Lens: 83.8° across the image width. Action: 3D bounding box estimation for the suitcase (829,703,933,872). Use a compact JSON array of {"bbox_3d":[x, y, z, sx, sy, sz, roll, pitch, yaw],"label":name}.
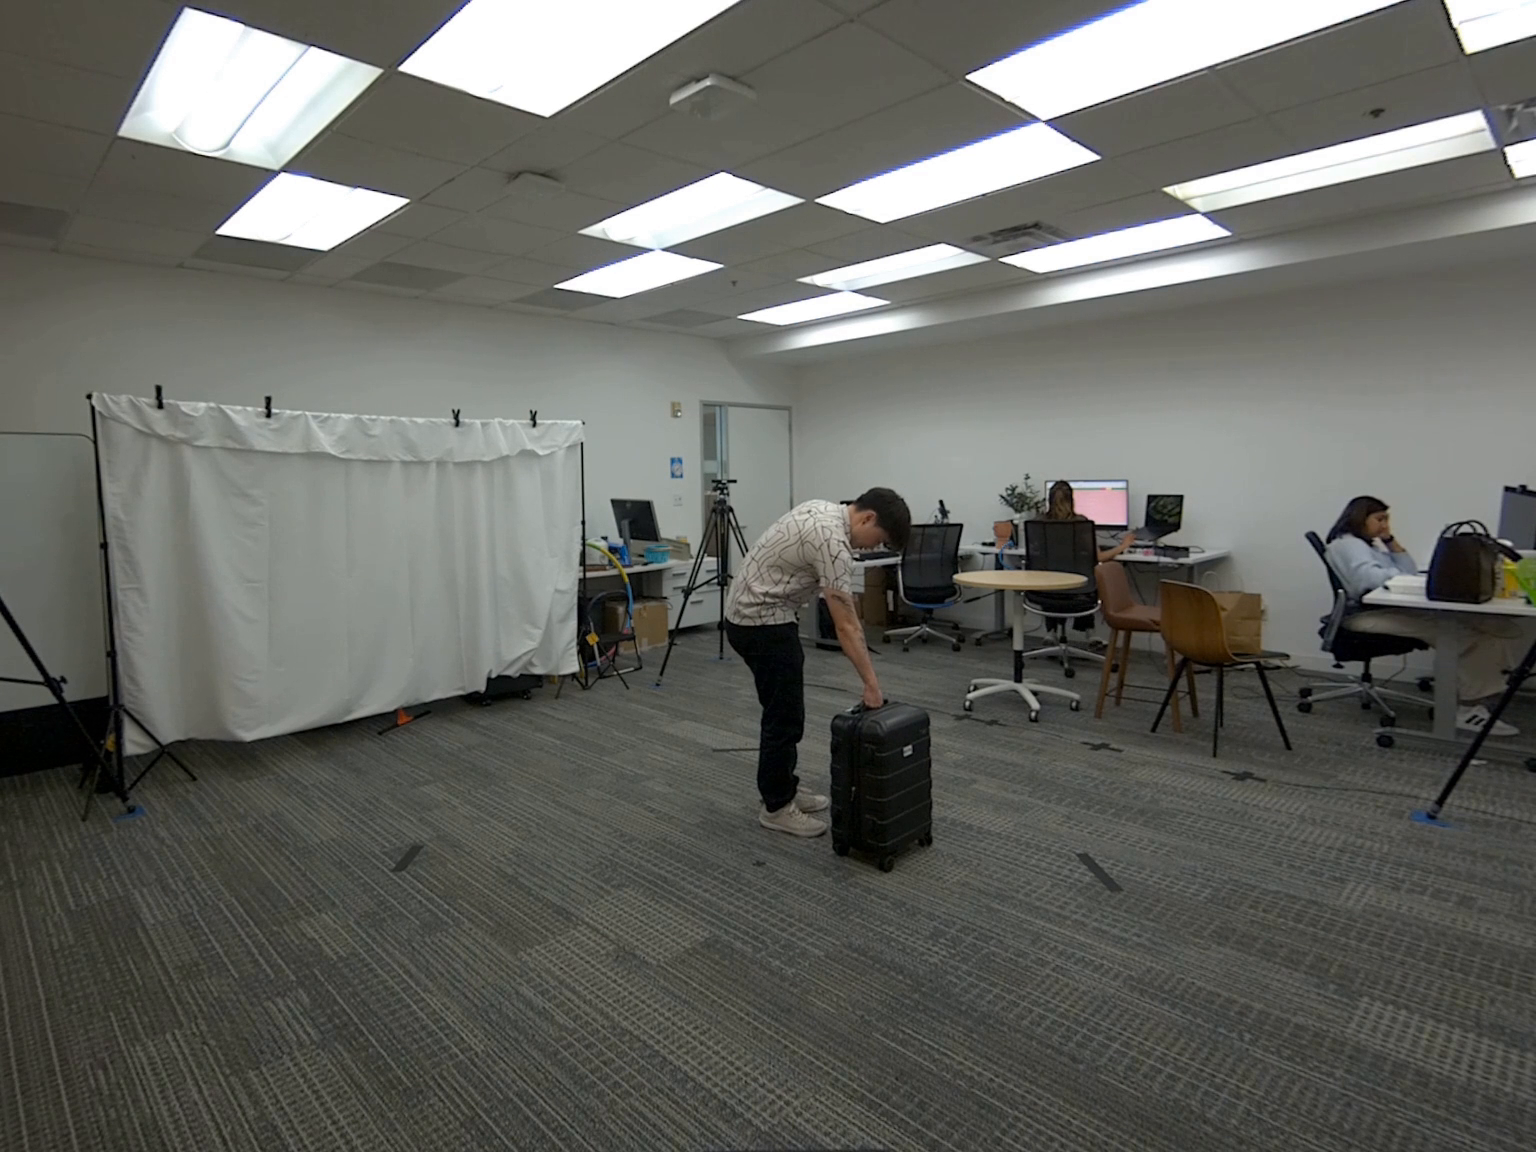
[{"bbox_3d":[0.427,0.752,3.189,0.256,0.547,0.365,3,6,43],"label":"suitcase"}]
